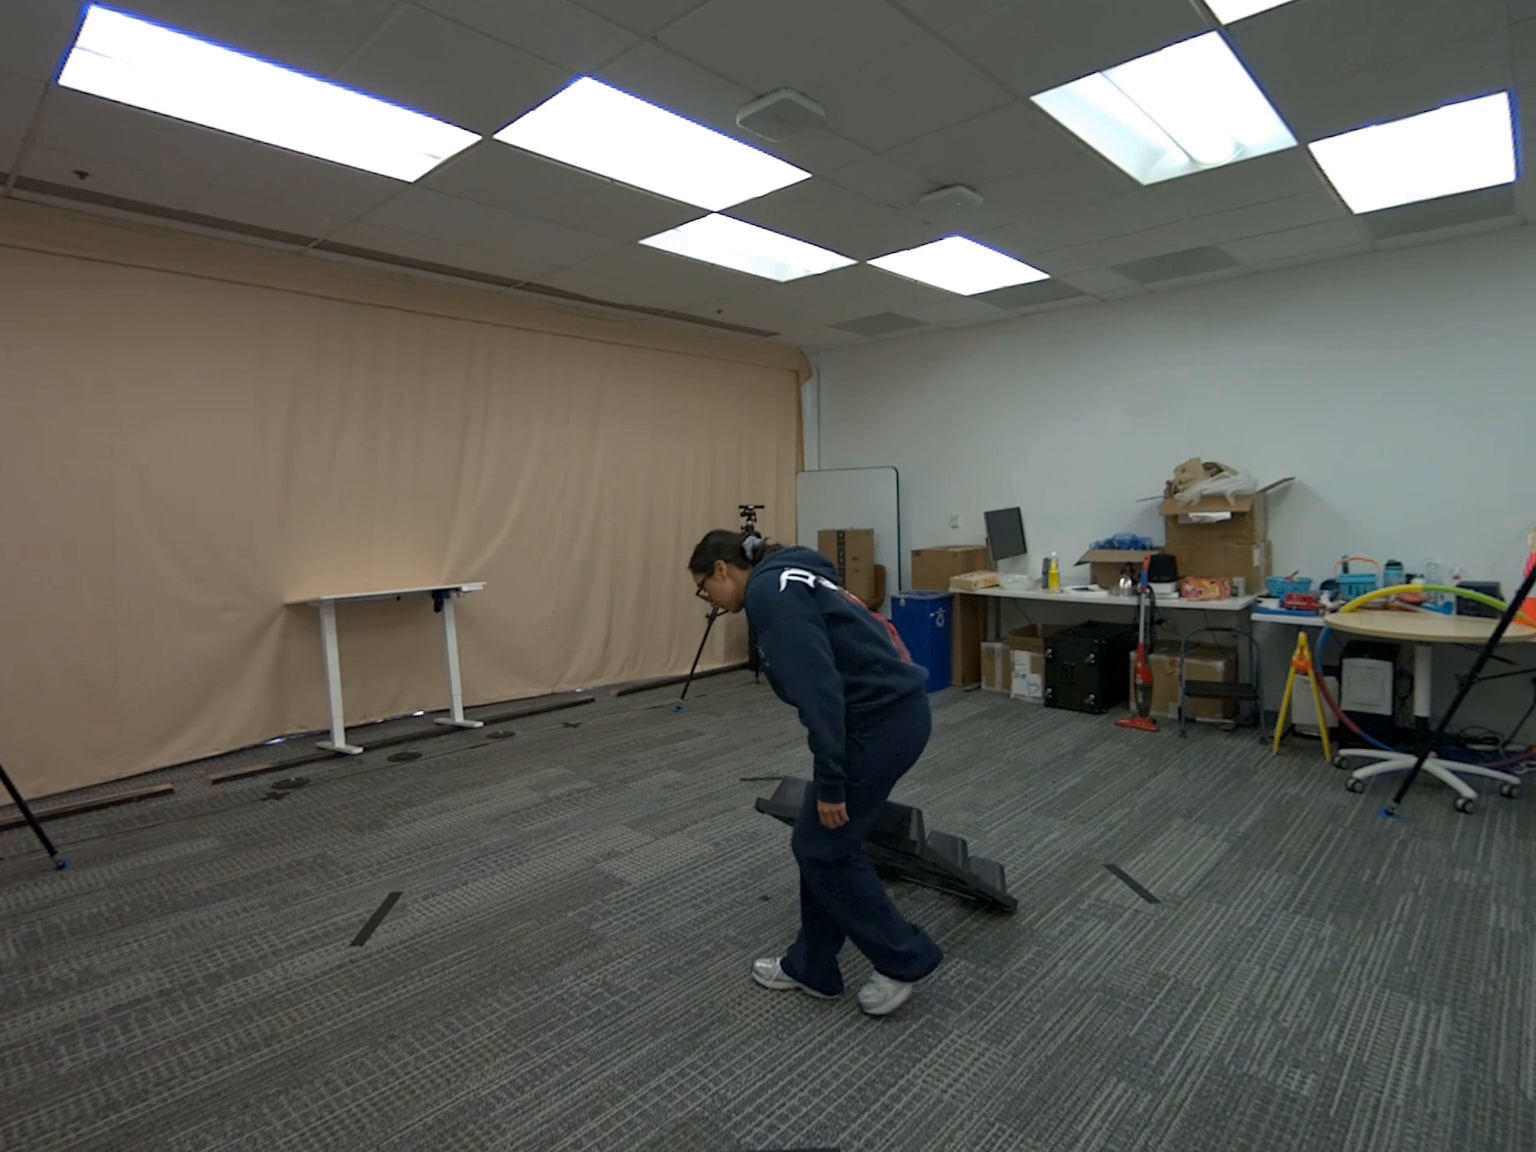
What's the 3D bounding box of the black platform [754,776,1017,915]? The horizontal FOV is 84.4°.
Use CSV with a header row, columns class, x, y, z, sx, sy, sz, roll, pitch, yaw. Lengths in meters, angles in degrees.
class,x,y,z,sx,sy,sz,roll,pitch,yaw
black platform,0.423,0.894,2.798,0.625,0.144,0.776,4,-26,40
